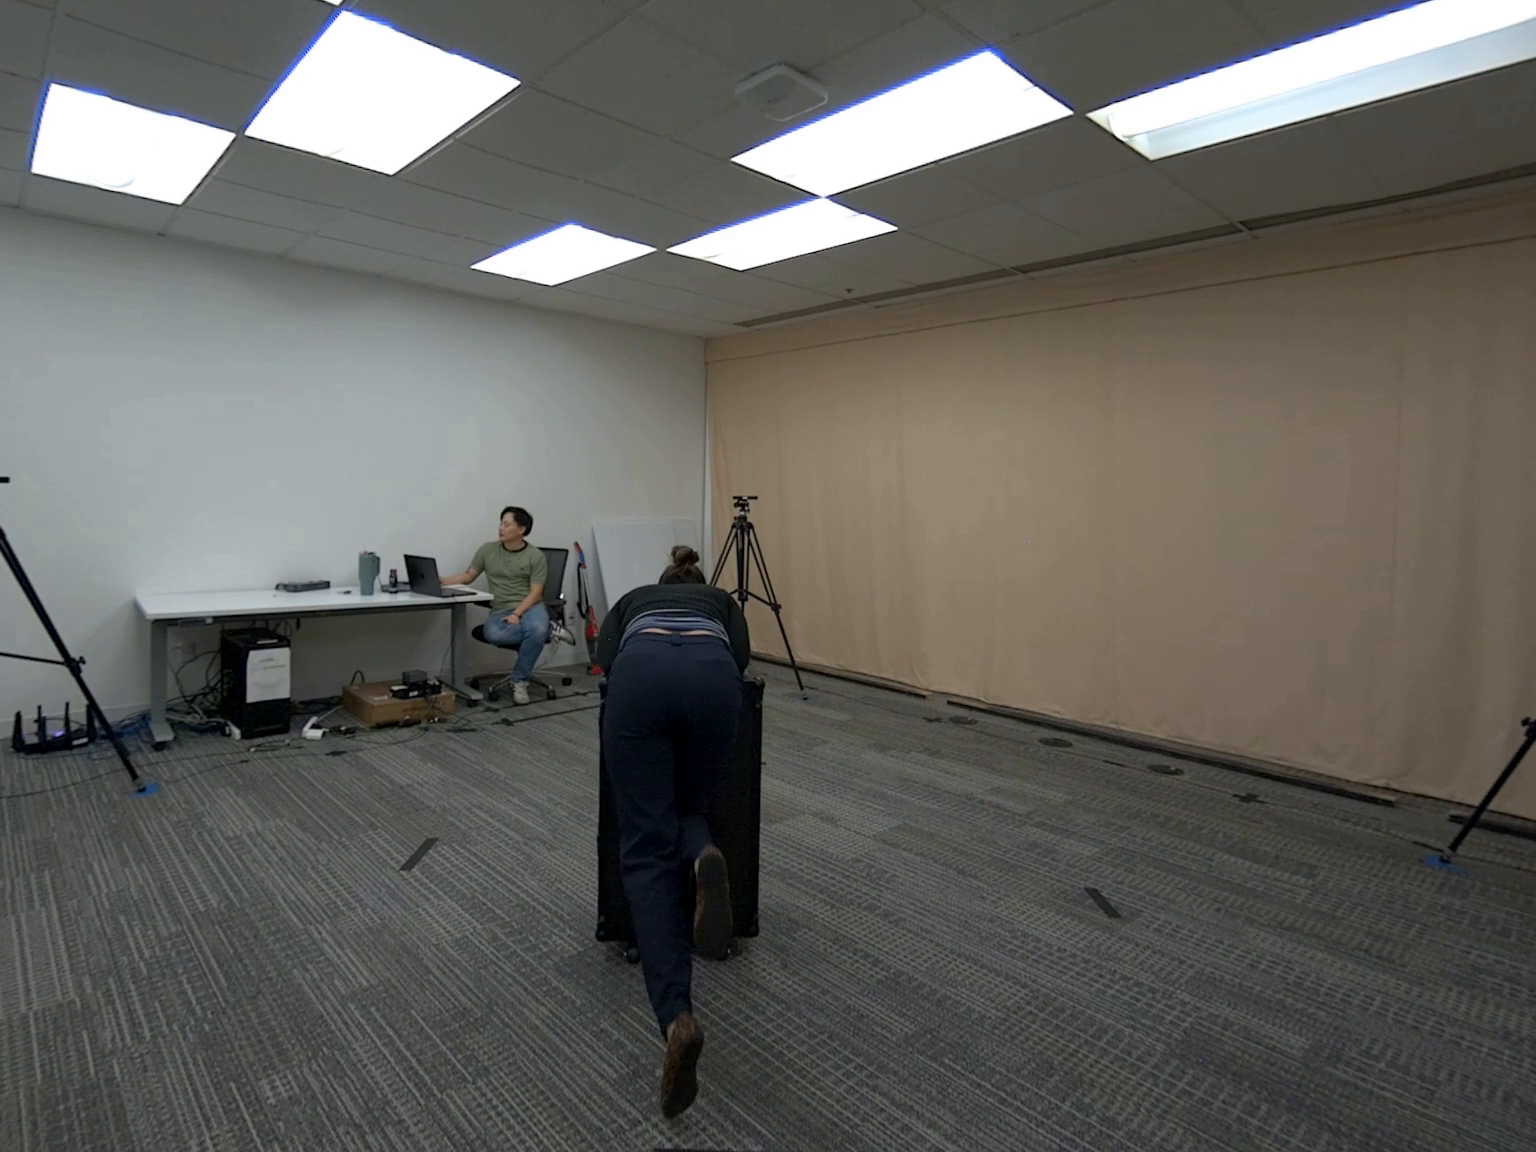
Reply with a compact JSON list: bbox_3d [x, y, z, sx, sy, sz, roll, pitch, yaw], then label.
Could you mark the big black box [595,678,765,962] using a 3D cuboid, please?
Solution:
[{"bbox_3d":[-0.284,0.727,2.646,0.519,0.859,0.399,1,4,-6],"label":"big black box"}]
